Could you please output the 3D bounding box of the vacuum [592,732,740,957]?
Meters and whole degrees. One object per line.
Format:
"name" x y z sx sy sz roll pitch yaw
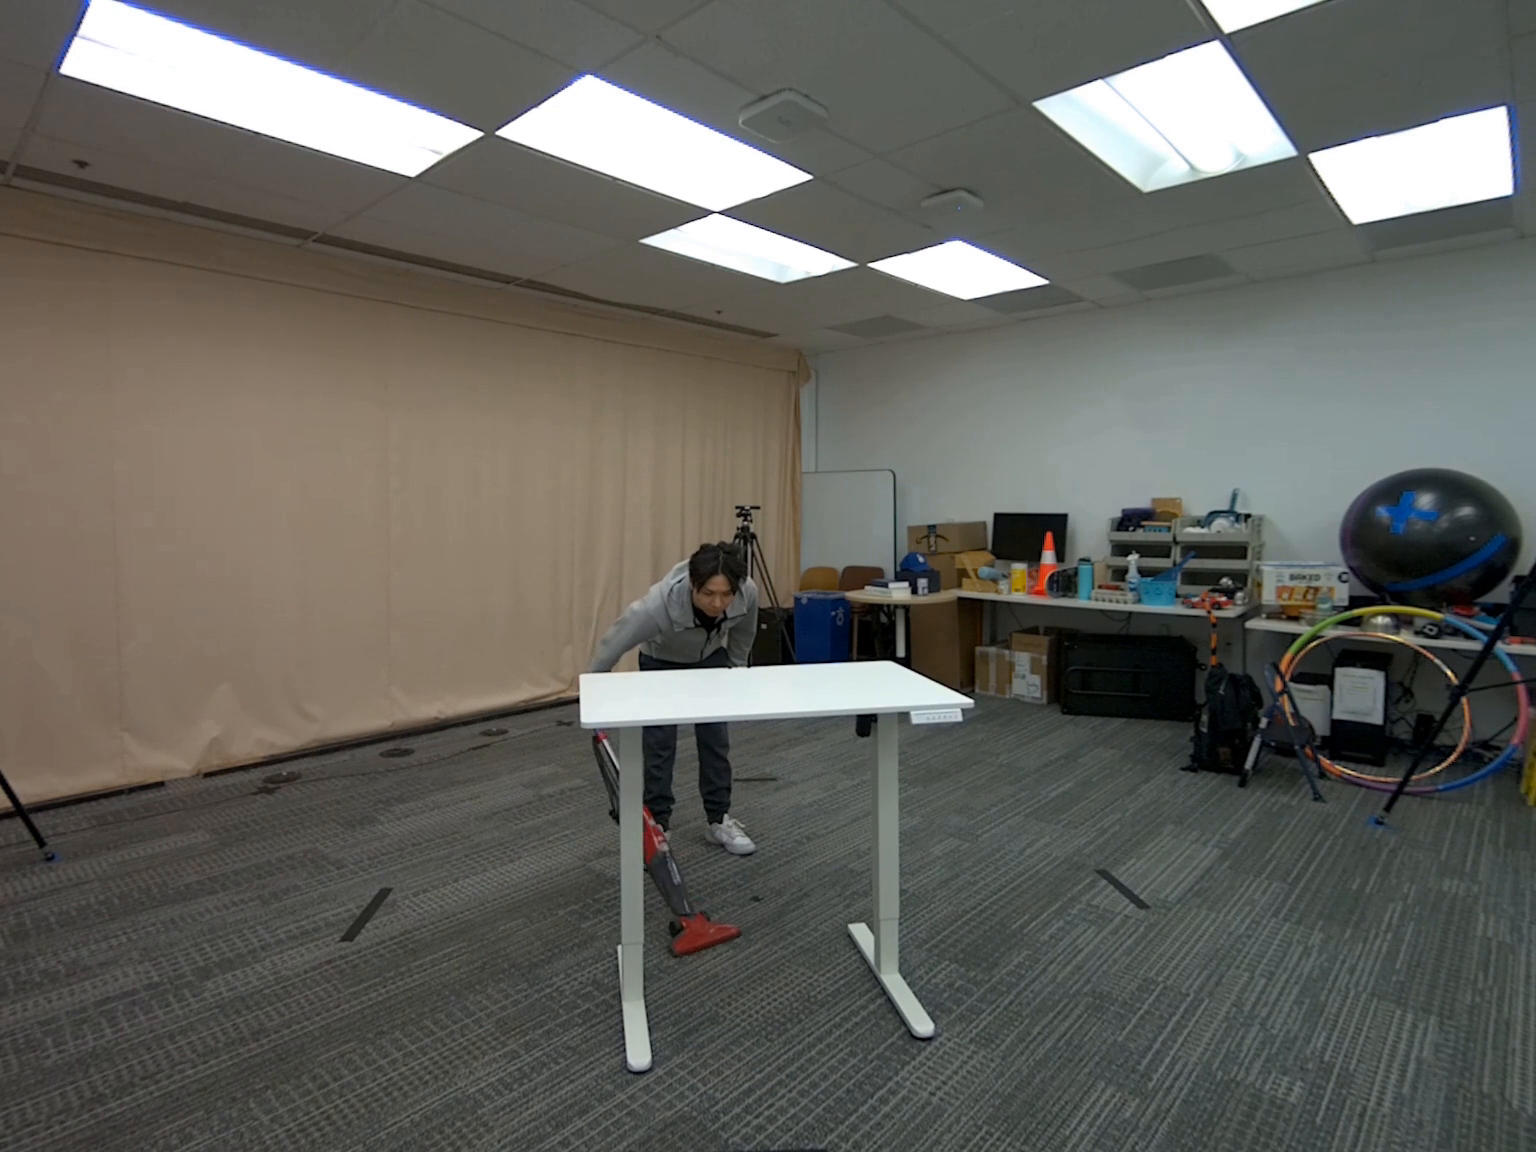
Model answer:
"vacuum" -0.482 0.849 3.068 0.244 0.144 1.087 8 27 -40
